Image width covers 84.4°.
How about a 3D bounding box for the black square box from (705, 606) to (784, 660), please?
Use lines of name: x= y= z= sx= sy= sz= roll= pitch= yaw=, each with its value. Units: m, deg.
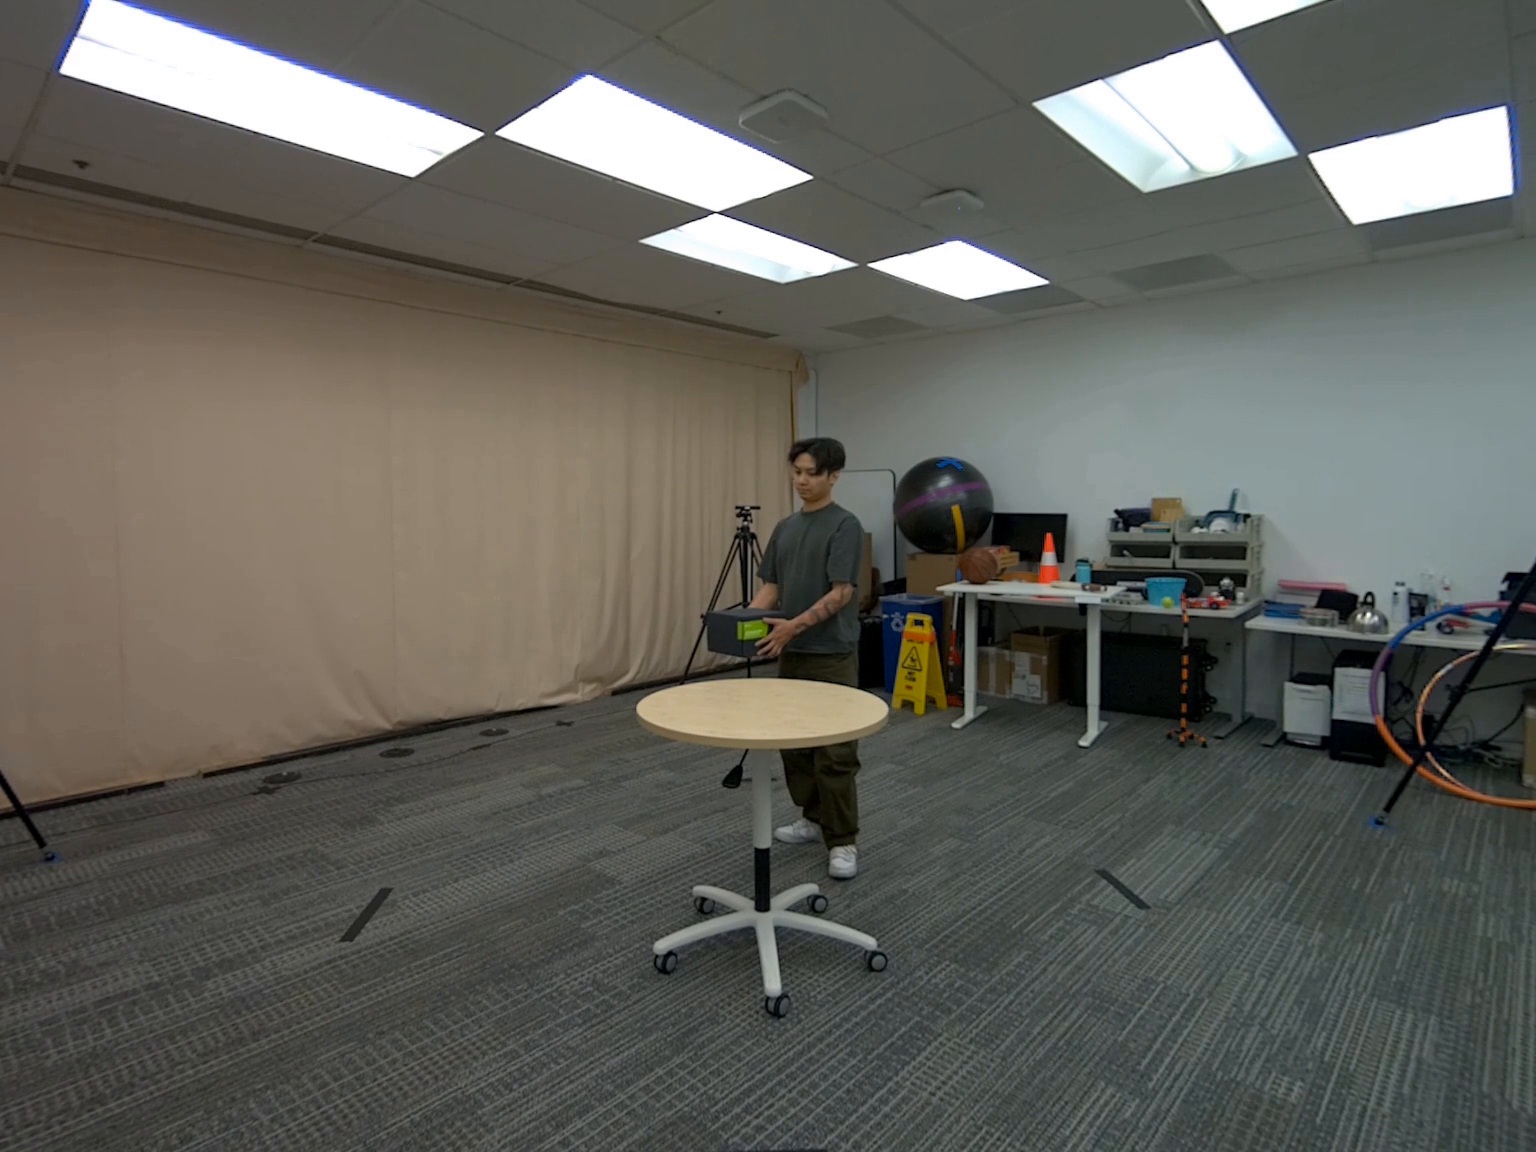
black square box: x=-0.086 y=0.217 z=3.262 sx=0.221 sy=0.155 sz=0.224 roll=-3 pitch=4 yaw=-39
